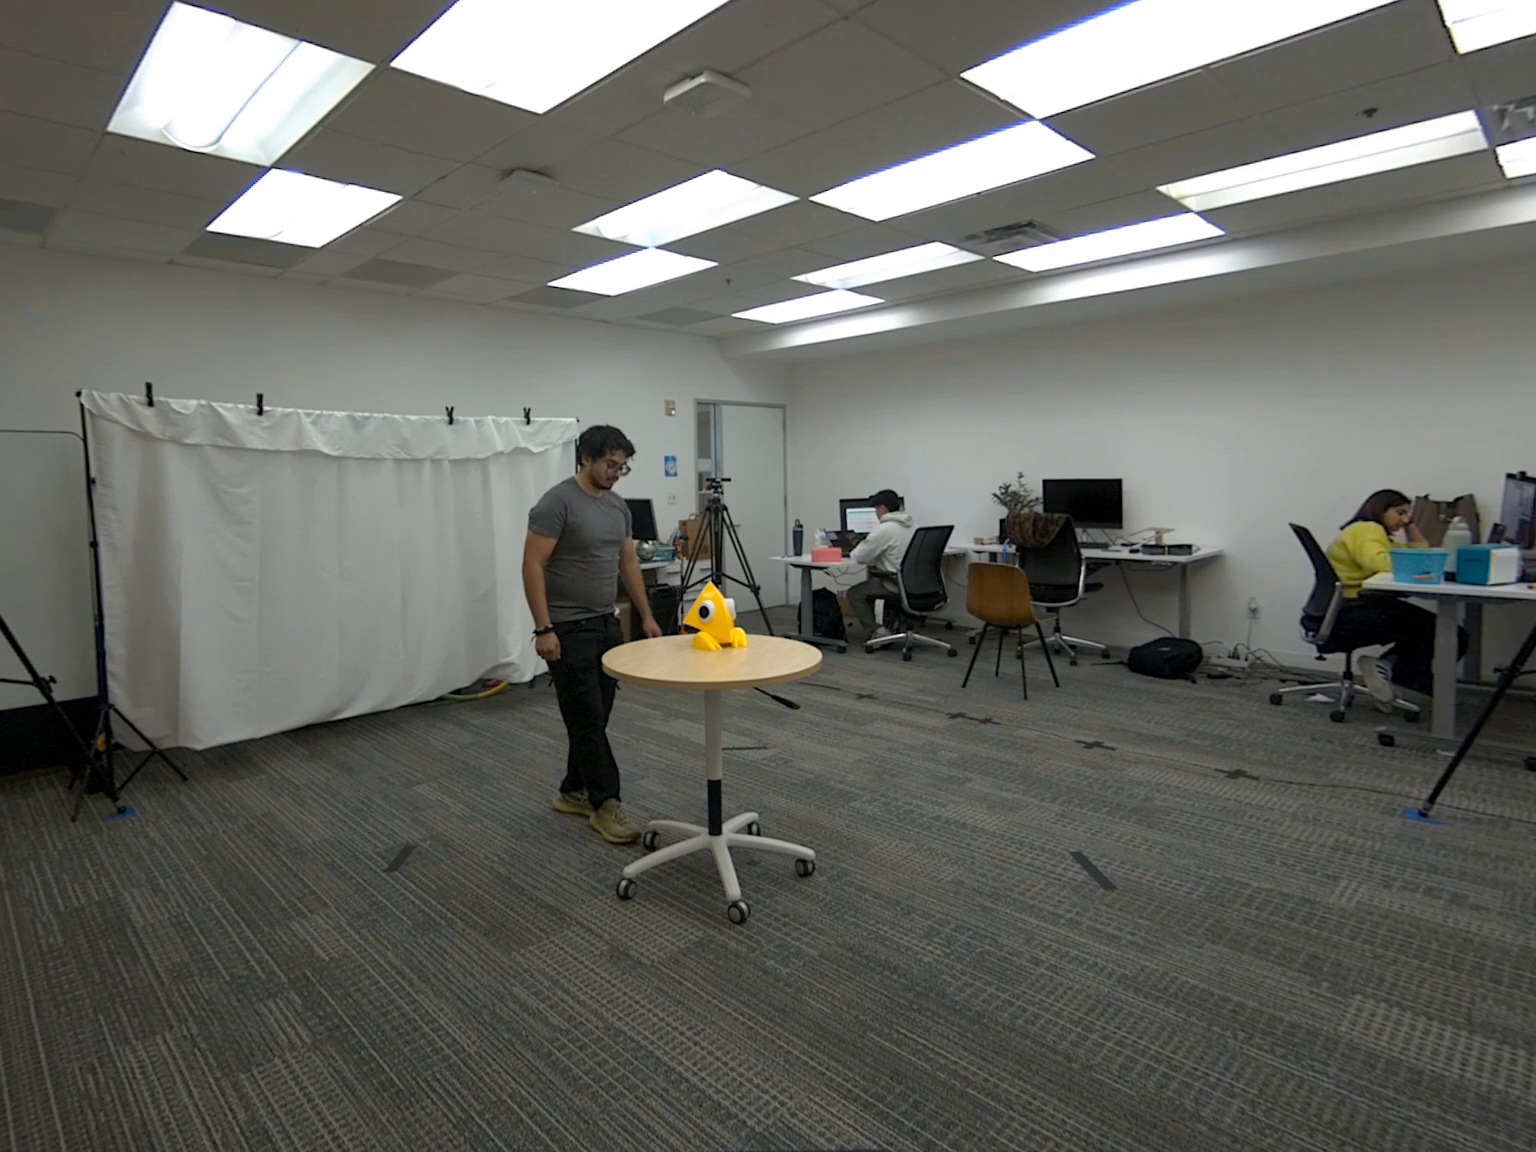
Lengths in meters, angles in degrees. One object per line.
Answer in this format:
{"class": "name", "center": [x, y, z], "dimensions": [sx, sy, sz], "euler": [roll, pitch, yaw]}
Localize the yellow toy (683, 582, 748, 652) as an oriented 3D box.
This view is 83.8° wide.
{"class": "yellow toy", "center": [-0.180, 0.139, 3.149], "dimensions": [0.200, 0.230, 0.198], "euler": [-3, 5, -29]}
